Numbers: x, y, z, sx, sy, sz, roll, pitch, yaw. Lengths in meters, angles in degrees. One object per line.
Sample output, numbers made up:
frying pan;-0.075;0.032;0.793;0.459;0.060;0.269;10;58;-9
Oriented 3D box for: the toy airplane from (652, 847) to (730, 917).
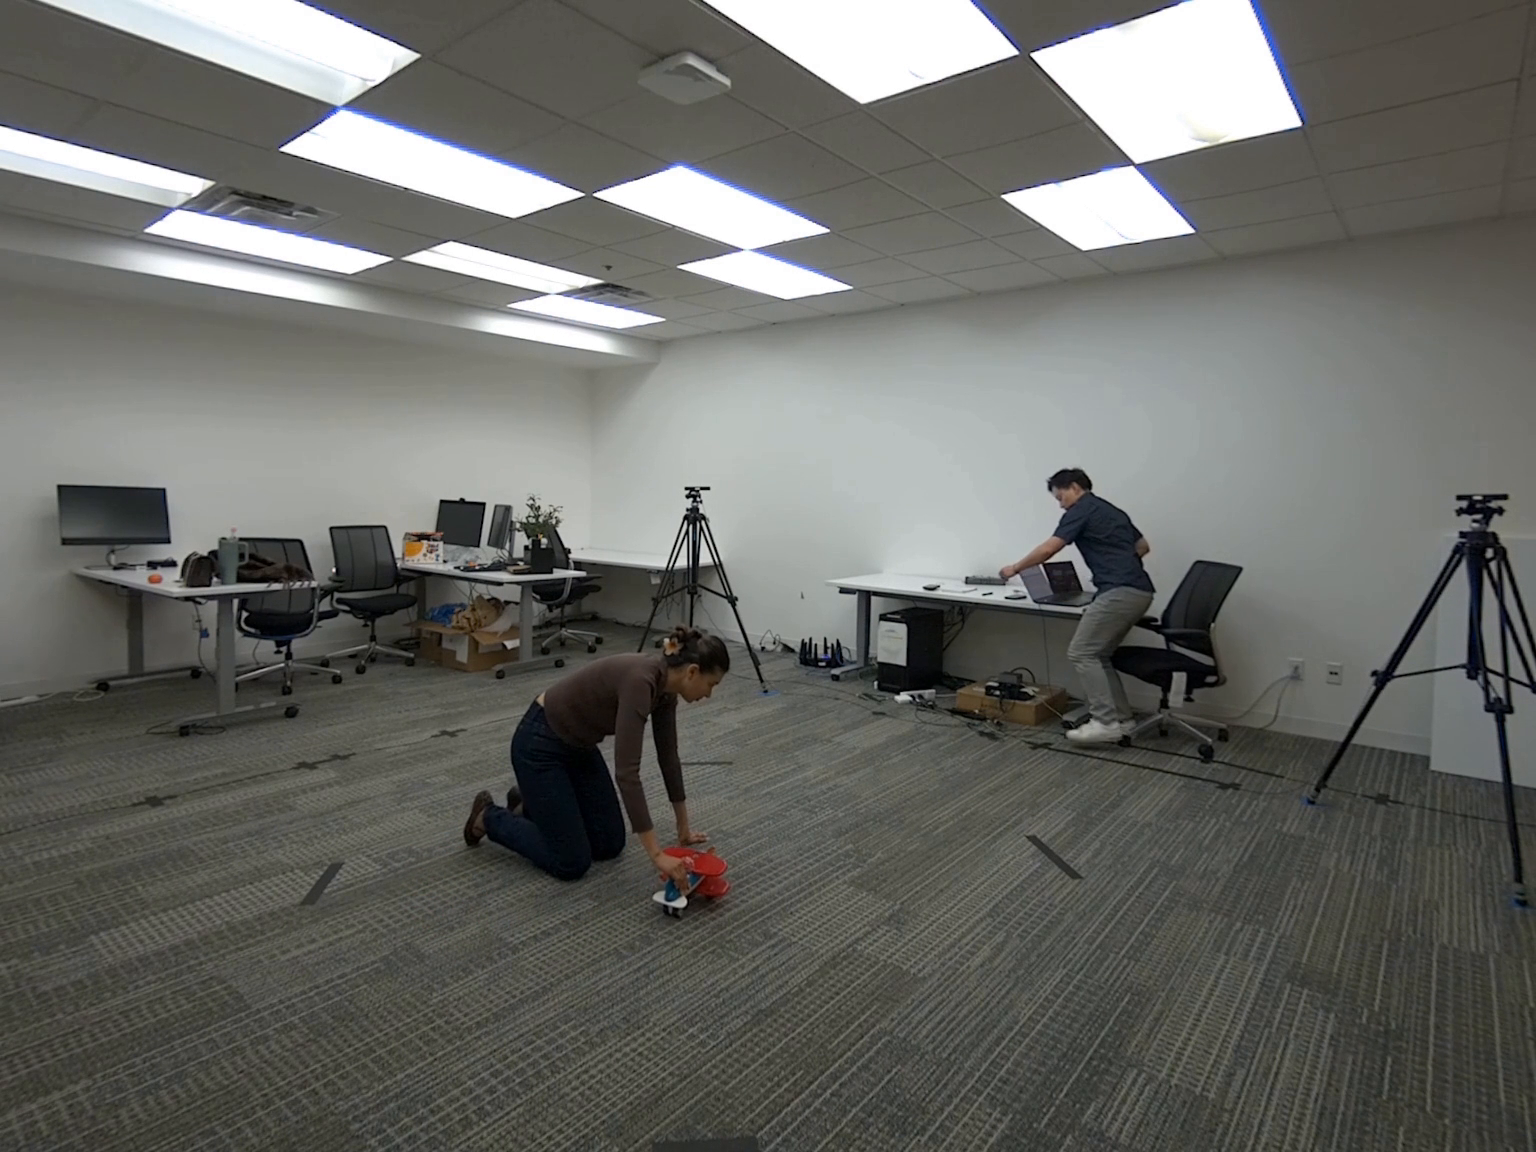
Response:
toy airplane;-0.255;1.016;2.827;0.251;0.156;0.260;1;3;-1
